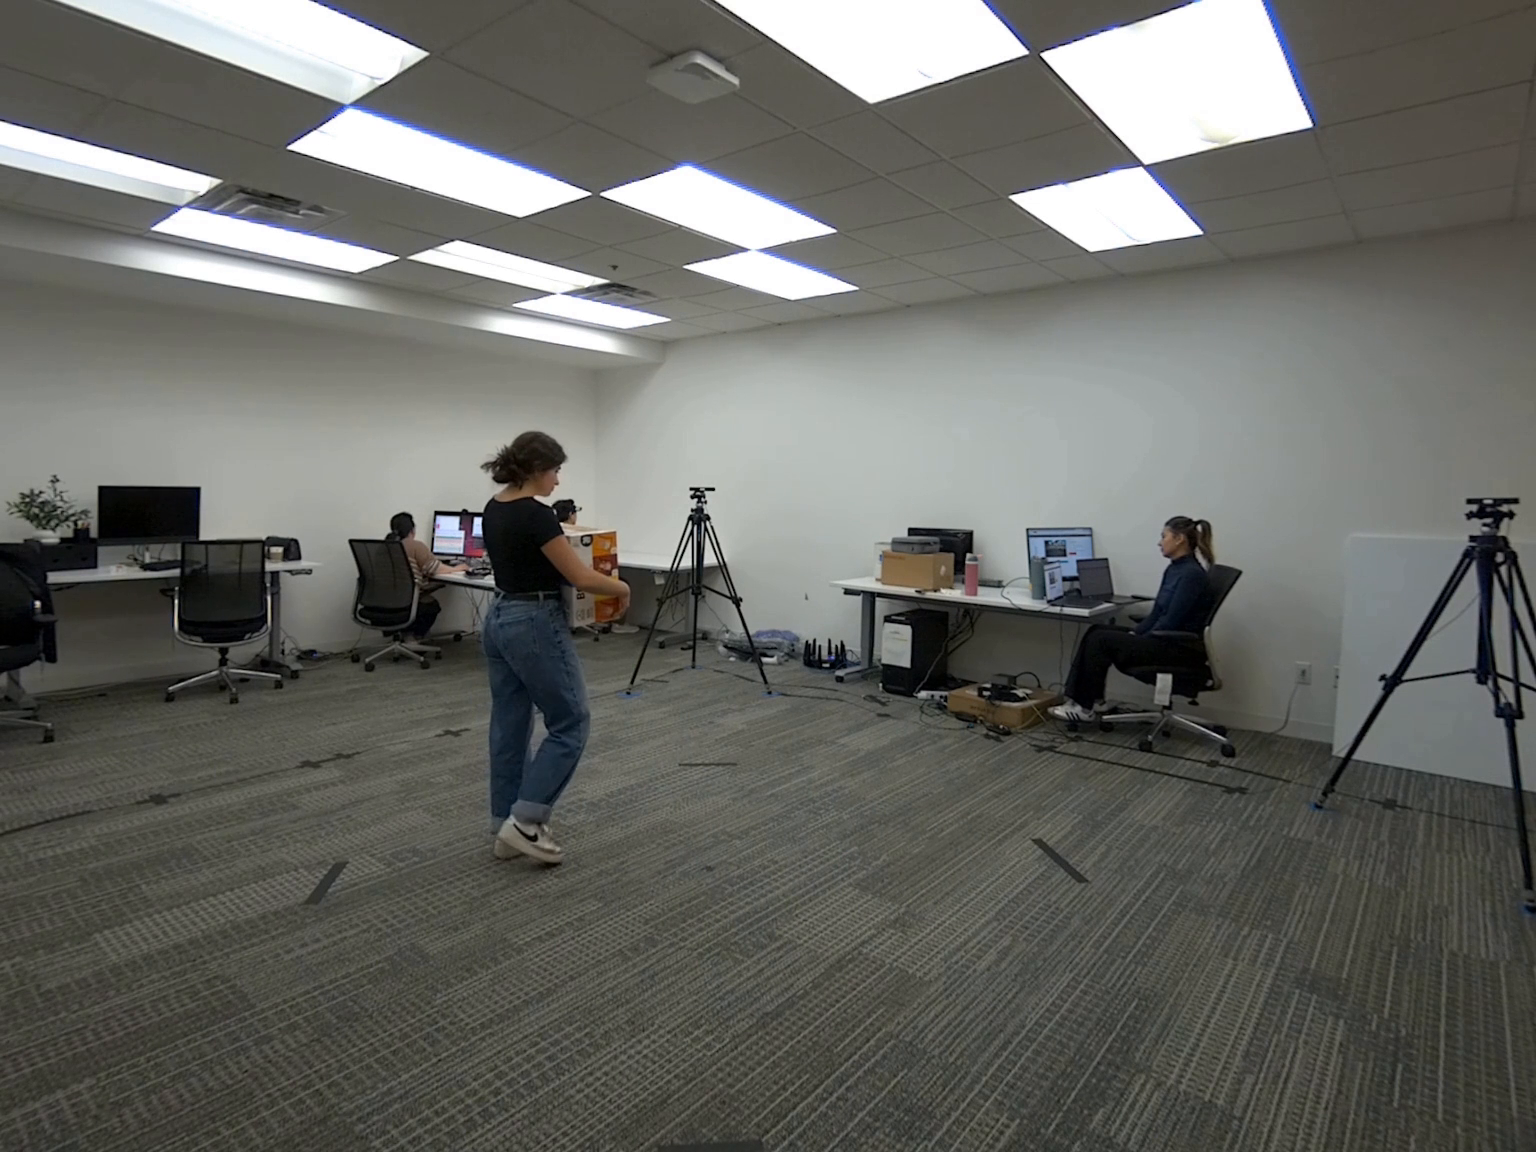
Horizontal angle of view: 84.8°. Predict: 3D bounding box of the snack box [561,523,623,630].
[{"bbox_3d":[-0.780,-0.013,3.305,0.200,0.337,0.420,-8,12,-41],"label":"snack box"}]
